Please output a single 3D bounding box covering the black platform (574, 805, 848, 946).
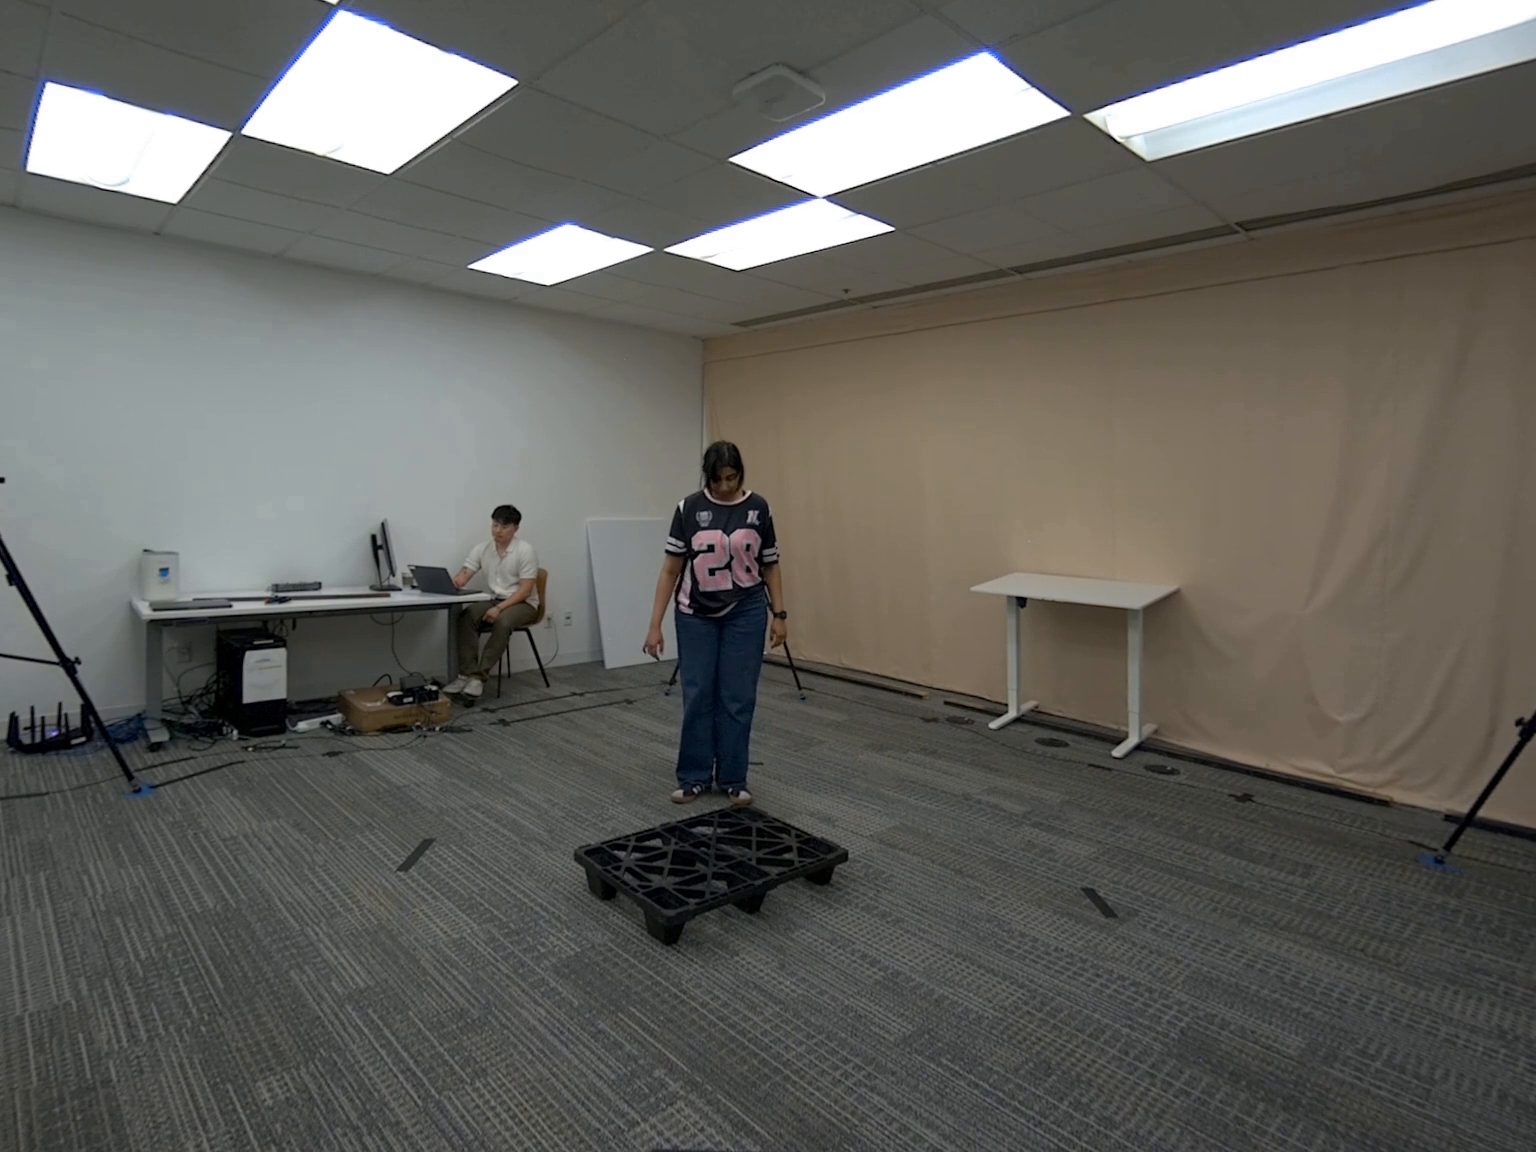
[{"bbox_3d":[-0.213,1.048,3.006,0.787,0.143,0.620,-3,6,-40],"label":"black platform"}]
